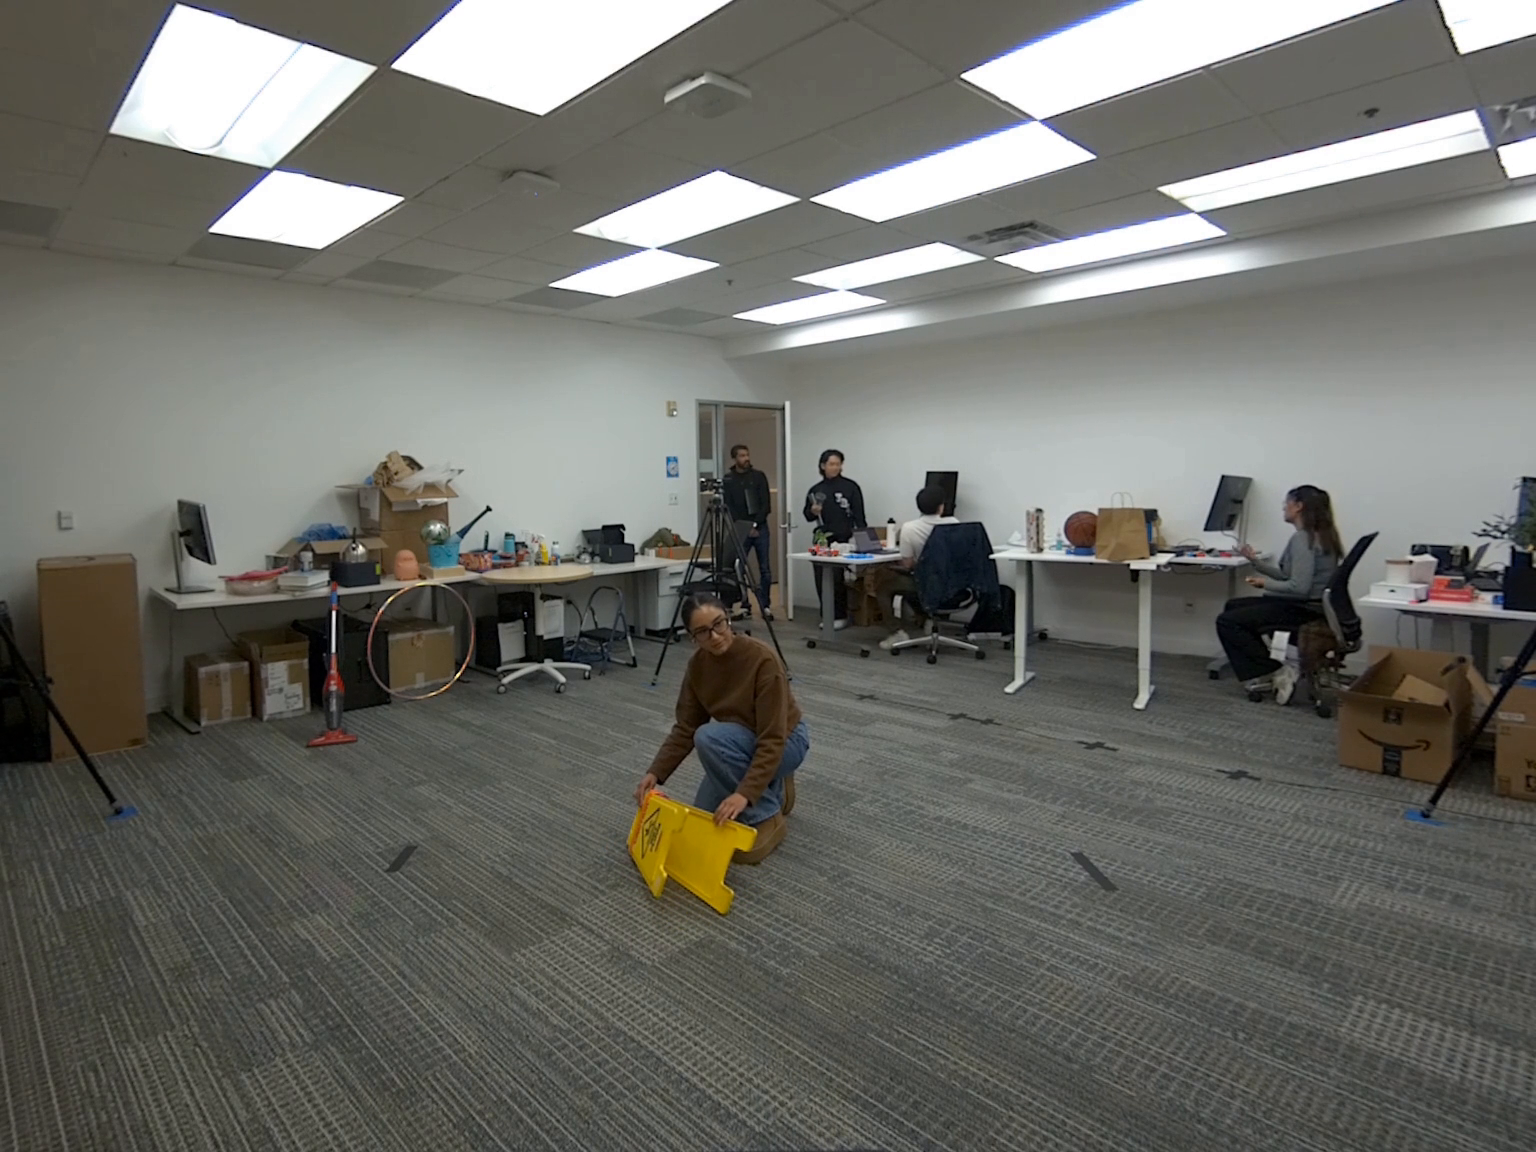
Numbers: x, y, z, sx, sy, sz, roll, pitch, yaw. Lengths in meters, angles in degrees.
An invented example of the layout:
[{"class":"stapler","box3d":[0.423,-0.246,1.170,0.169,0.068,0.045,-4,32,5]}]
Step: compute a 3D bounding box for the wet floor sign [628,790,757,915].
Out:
[{"class":"wet floor sign","box3d":[-0.344,0.926,3.009,0.282,0.284,0.659,25,-13,-24]}]
